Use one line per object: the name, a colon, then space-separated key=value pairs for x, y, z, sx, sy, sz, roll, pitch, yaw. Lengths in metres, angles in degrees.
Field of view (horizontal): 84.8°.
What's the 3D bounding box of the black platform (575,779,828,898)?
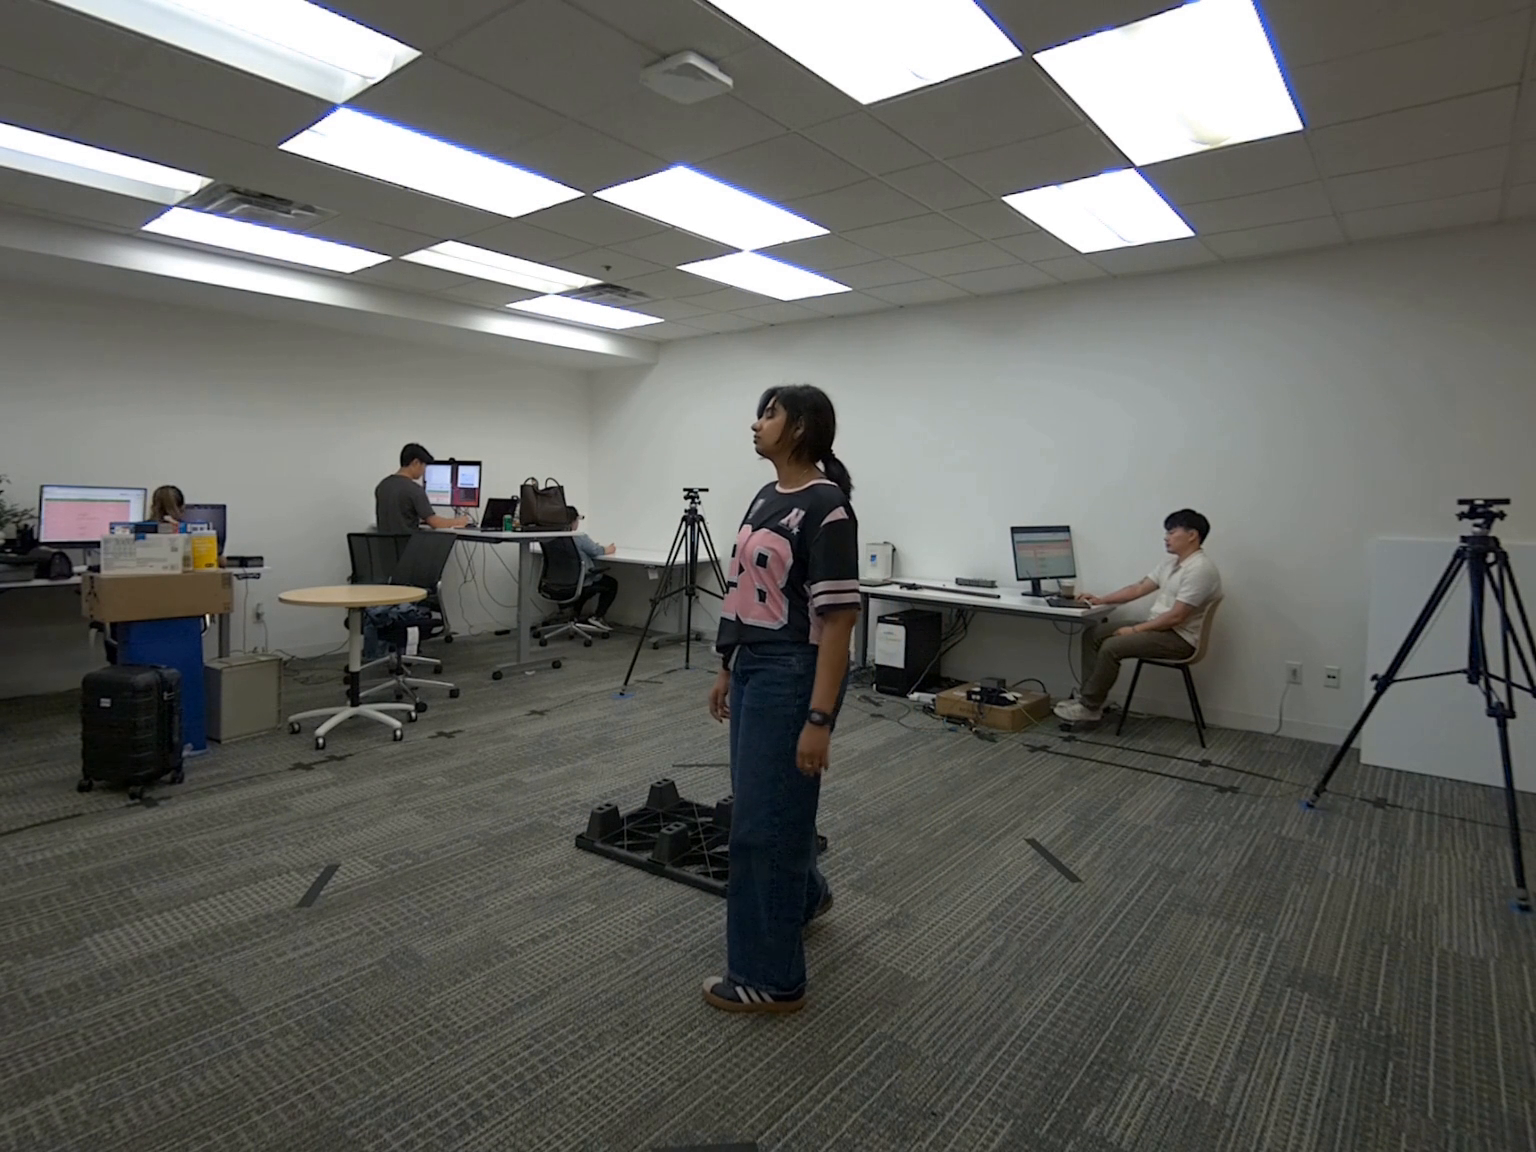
black platform: x=-0.262 y=0.984 z=3.302 sx=0.831 sy=0.143 sz=0.589 roll=5 pitch=7 yaw=32
